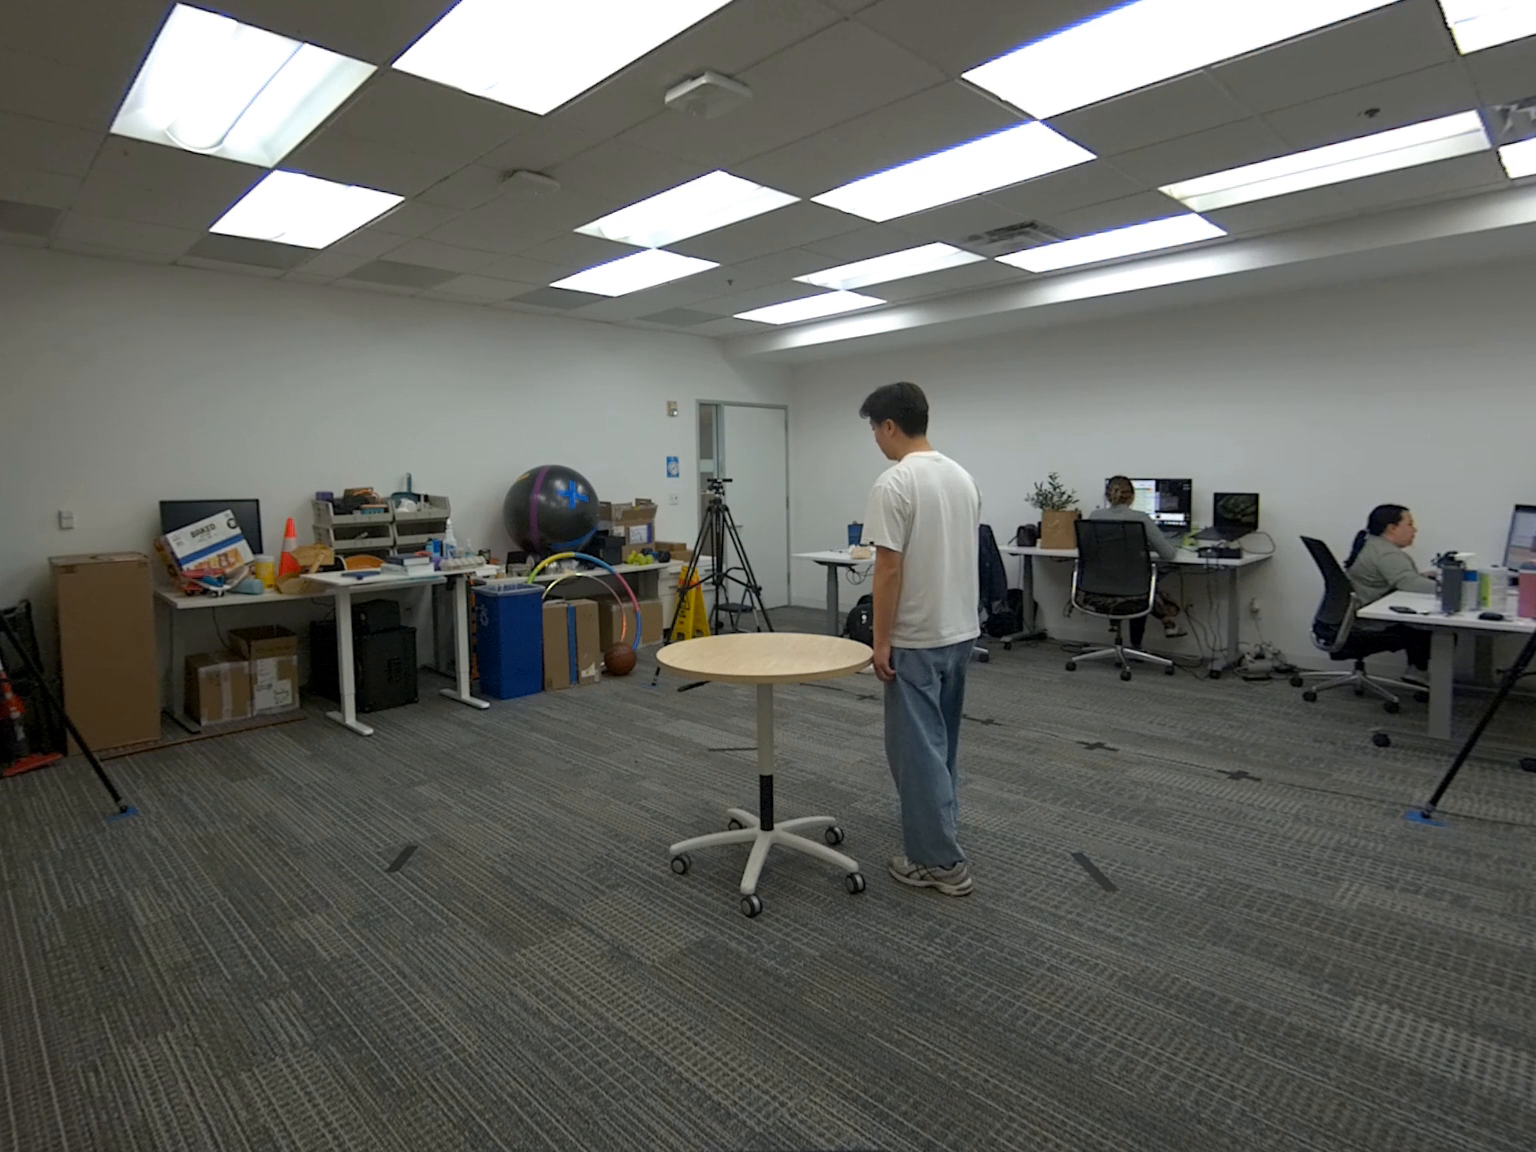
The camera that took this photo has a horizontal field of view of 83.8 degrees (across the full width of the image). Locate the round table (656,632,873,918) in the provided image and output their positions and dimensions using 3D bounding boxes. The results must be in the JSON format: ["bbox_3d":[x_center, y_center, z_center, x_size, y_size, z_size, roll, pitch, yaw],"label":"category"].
[{"bbox_3d":[-0.006,0.659,3.057,0.763,0.791,0.768,-1,5,-2],"label":"round table"}]
